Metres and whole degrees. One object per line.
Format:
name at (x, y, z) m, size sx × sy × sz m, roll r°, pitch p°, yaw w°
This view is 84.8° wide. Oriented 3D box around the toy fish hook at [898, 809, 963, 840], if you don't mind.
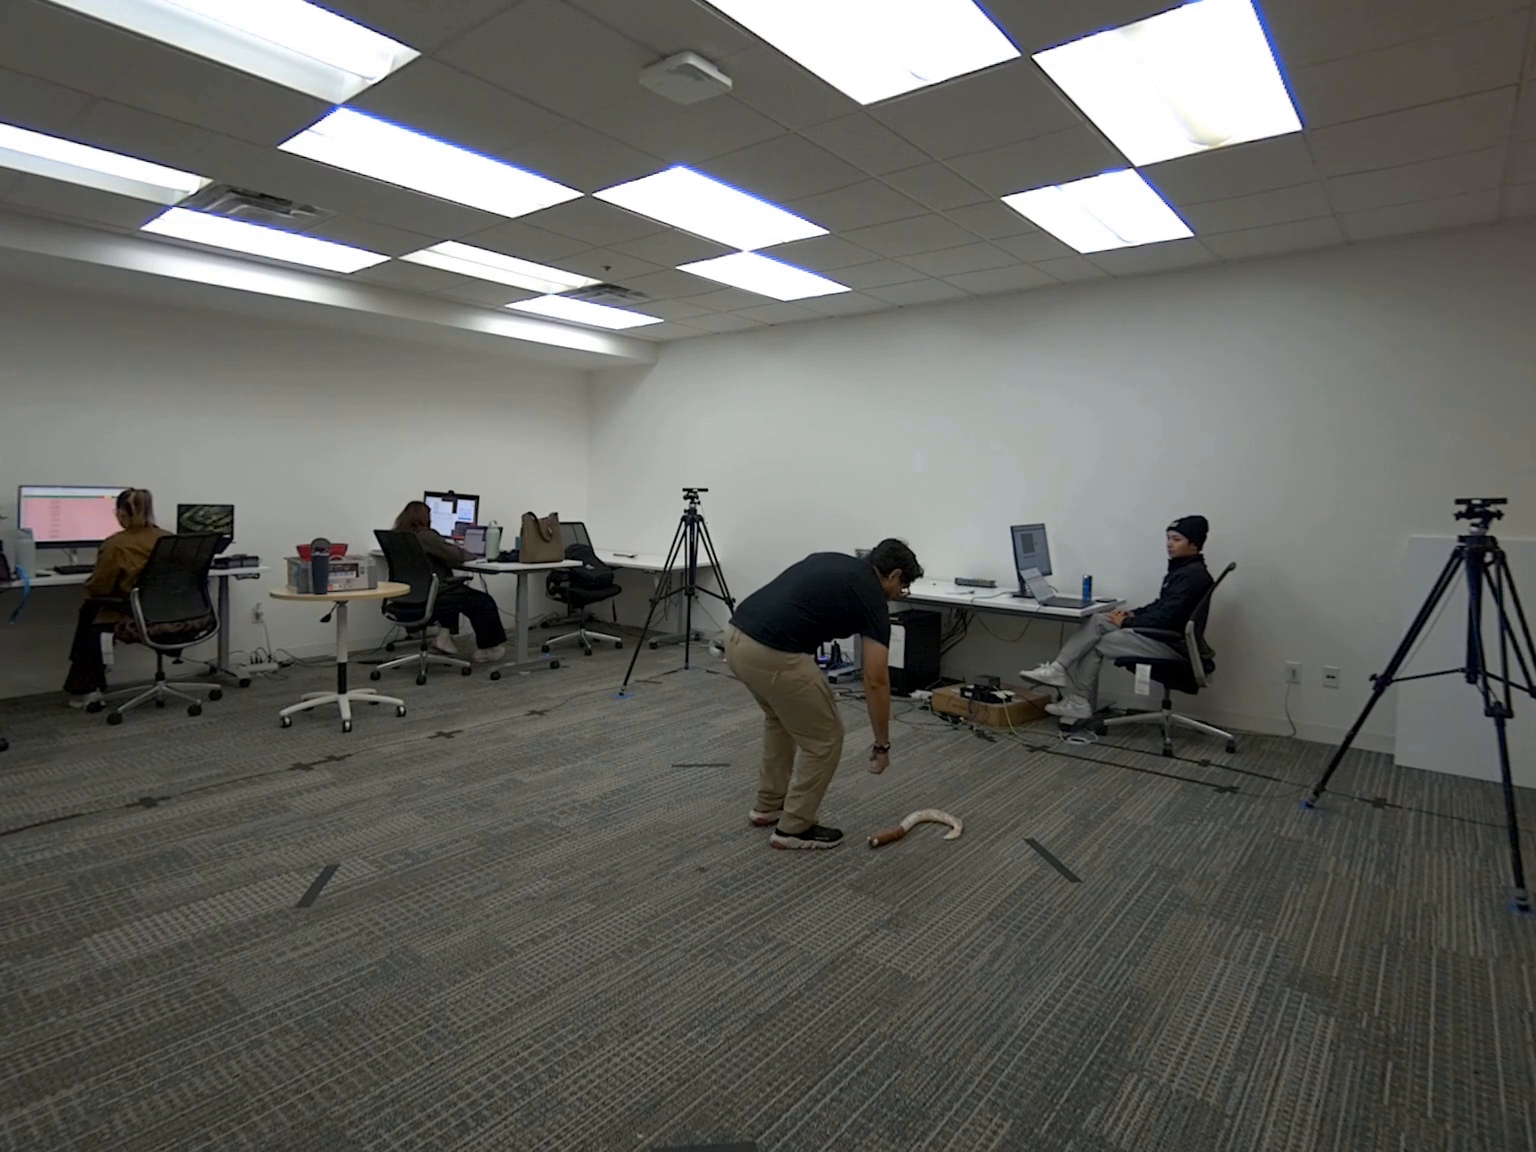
toy fish hook at (0.603, 1.036, 3.457) m, size 0.491 × 0.048 × 0.232 m, roll -5°, pitch 8°, yaw -44°
